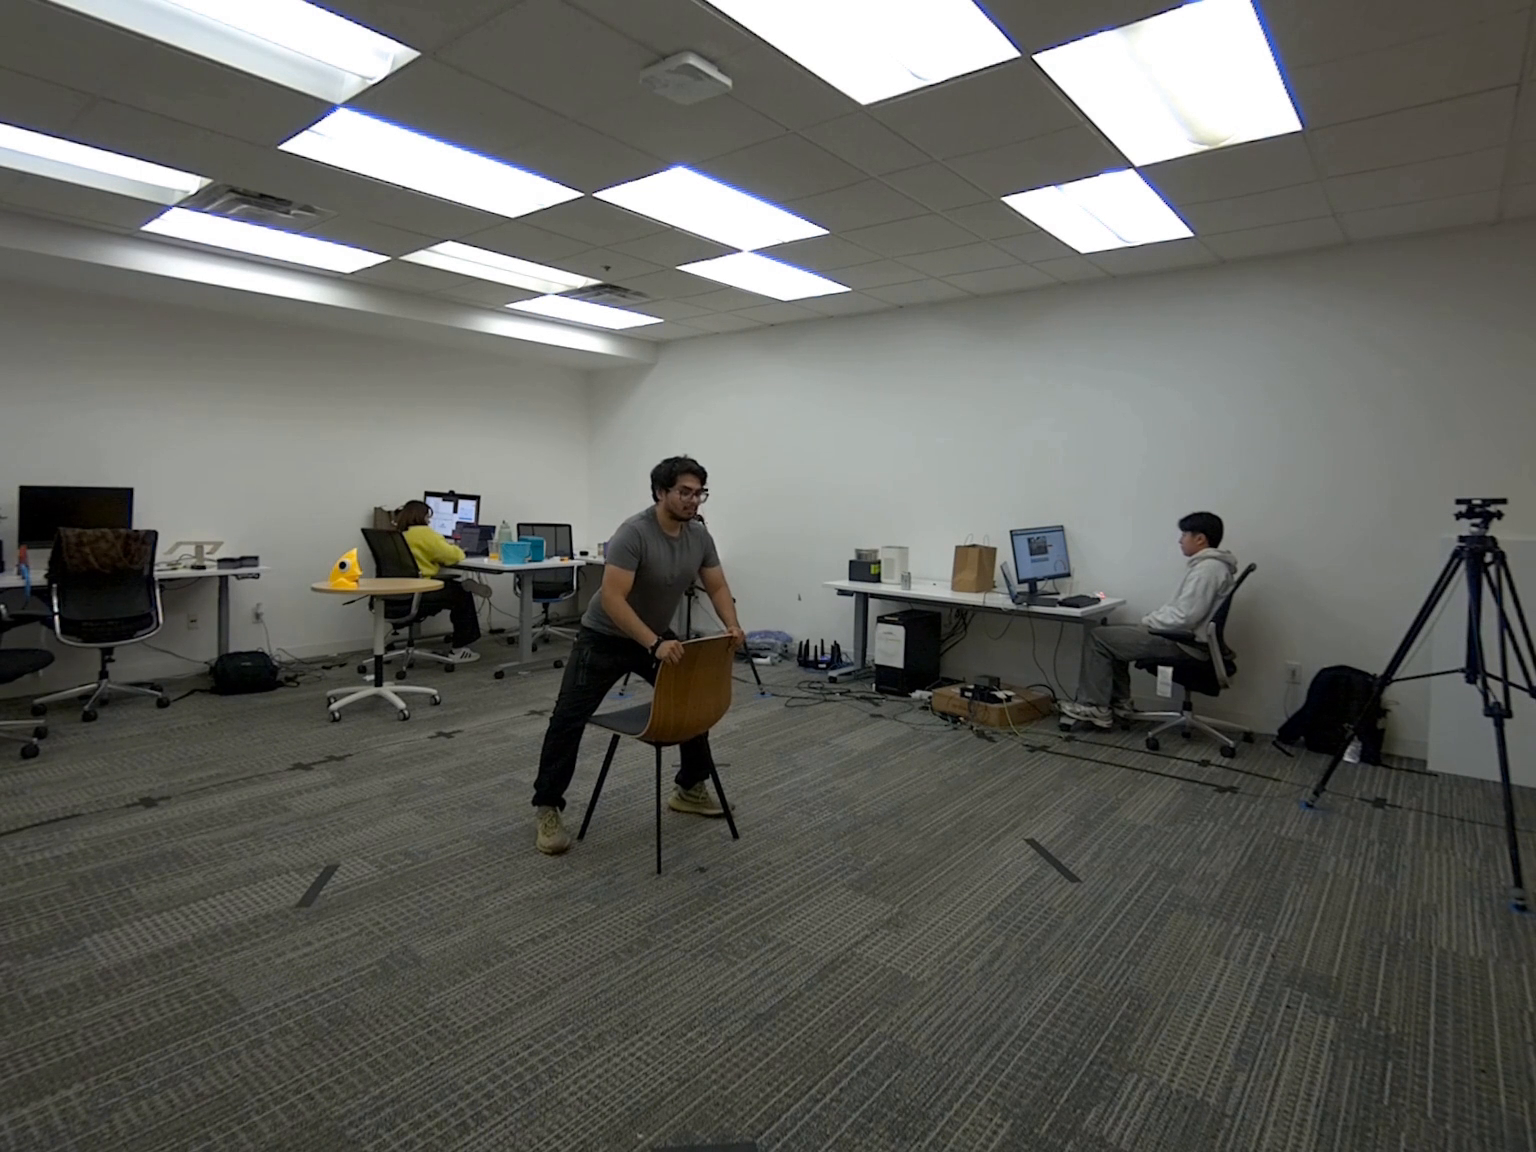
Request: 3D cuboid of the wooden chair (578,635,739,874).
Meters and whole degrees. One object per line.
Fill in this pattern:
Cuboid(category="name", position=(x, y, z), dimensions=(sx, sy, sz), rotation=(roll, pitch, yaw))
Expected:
Cuboid(category="wooden chair", position=(-0.436, 0.613, 3.349), dimensions=(0.542, 0.873, 0.464), rotation=(10, 8, 38))
